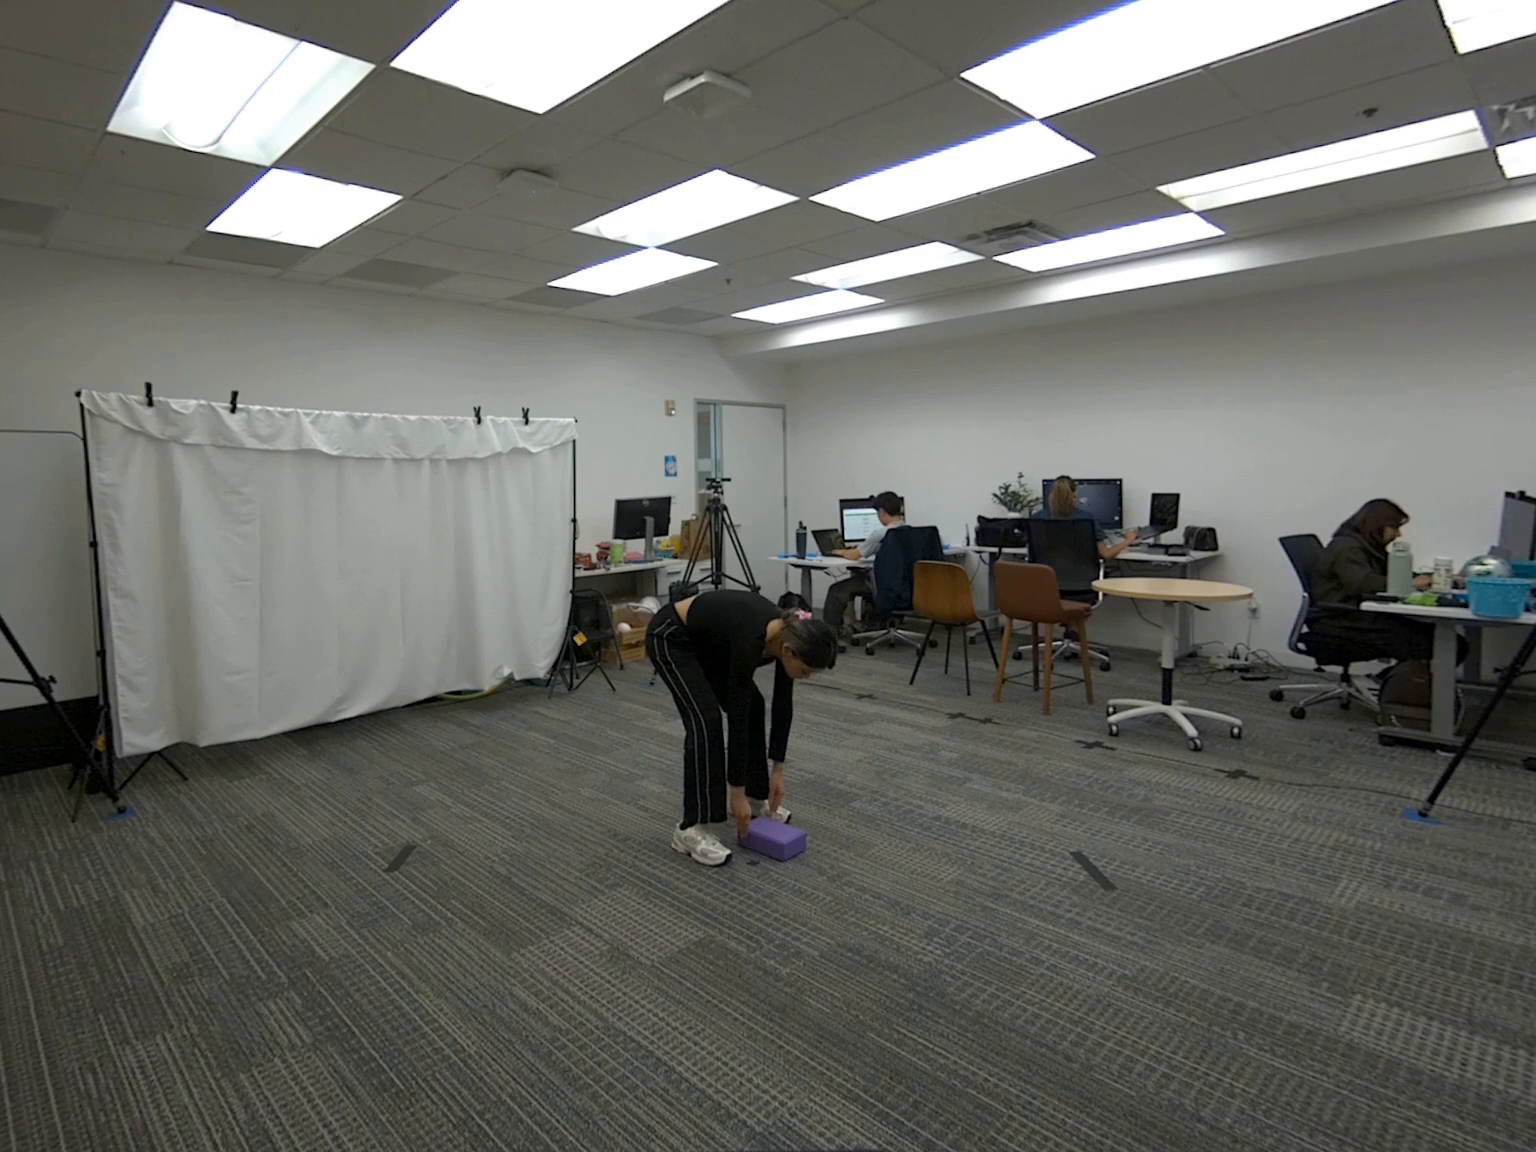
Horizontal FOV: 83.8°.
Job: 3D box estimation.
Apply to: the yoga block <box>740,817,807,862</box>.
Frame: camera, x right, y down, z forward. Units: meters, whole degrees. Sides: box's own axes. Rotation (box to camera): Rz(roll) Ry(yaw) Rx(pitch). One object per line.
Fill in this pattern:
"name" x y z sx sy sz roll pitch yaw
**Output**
"yoga block" 0.013 0.989 3.225 0.236 0.076 0.145 6 7 41
